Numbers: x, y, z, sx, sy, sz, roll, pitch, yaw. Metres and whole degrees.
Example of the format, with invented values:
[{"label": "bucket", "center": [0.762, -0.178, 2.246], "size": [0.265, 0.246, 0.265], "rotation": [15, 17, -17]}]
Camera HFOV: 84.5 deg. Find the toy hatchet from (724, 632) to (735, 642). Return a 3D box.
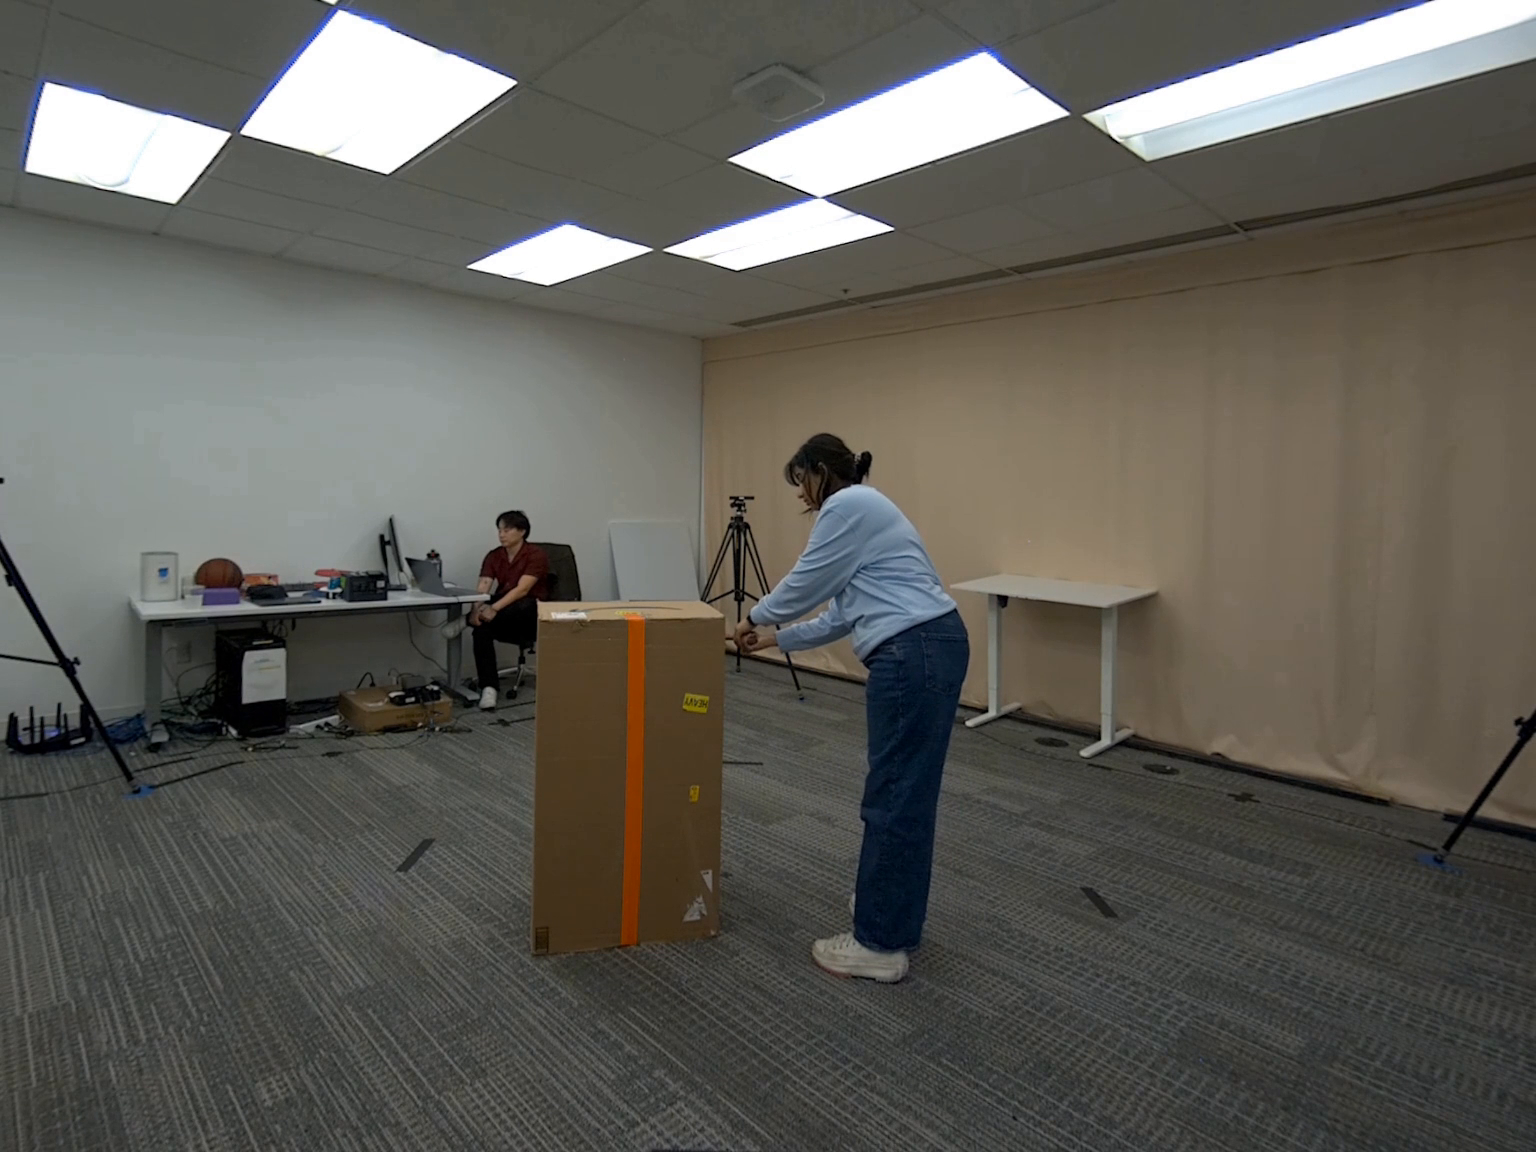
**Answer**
[{"label": "toy hatchet", "center": [-0.144, 0.224, 2.933], "size": [0.129, 0.029, 0.274], "rotation": [-1, 0, -21]}]
